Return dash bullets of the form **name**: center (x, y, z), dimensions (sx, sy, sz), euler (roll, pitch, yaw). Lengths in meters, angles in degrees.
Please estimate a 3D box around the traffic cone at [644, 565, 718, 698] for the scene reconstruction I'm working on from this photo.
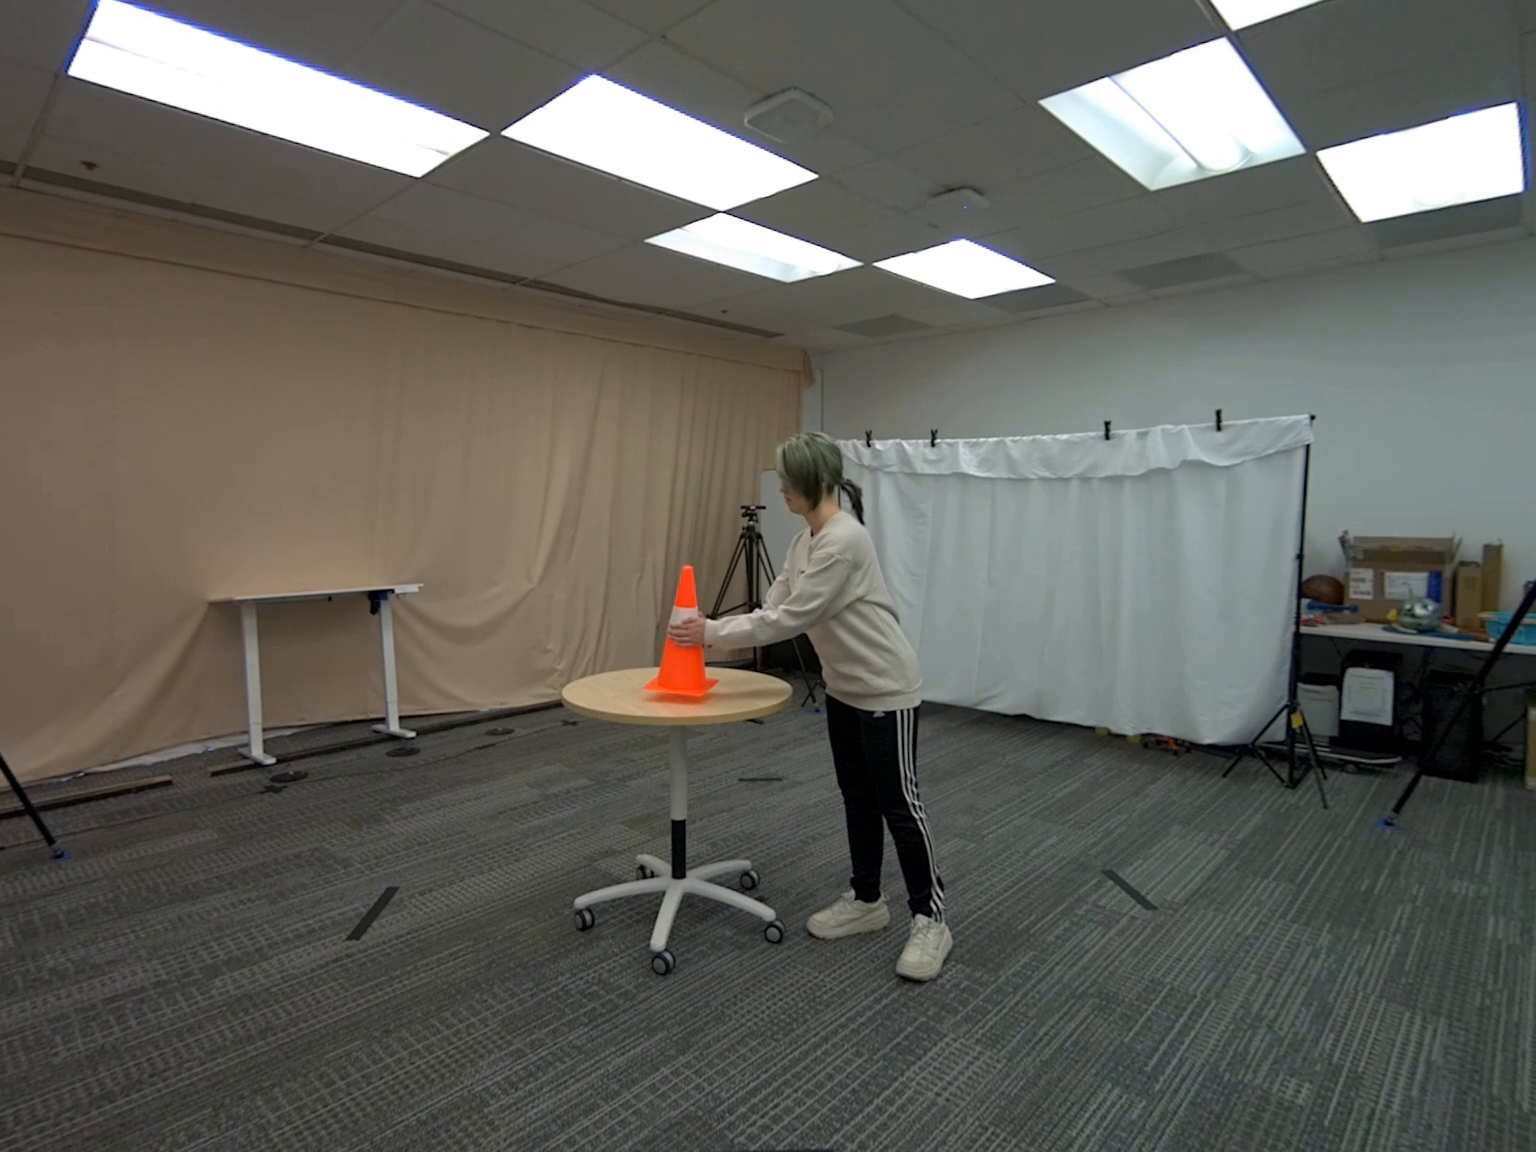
- **traffic cone**: center (-0.263, 0.159, 2.650), dimensions (0.209, 0.382, 0.200), euler (2, 5, 18)
